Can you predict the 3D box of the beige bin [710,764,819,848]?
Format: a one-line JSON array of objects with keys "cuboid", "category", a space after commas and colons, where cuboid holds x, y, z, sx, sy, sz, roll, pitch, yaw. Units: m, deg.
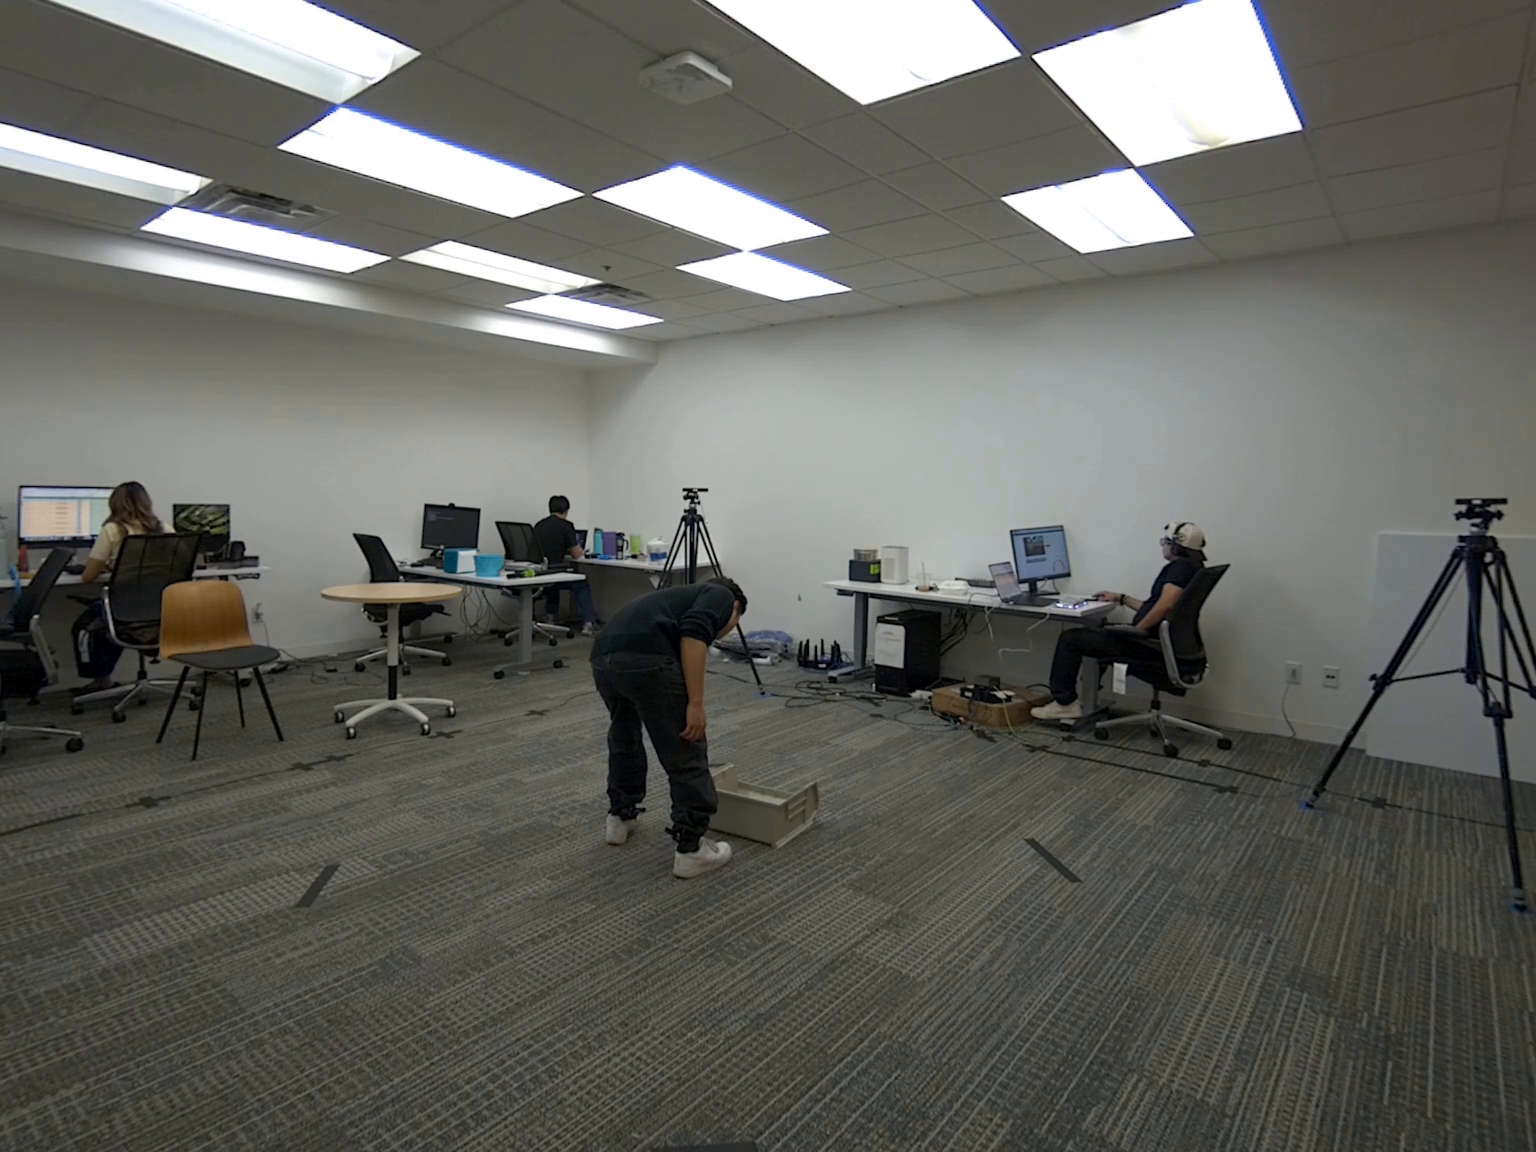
[{"cuboid": [-0.058, 0.943, 3.557, 0.435, 0.188, 0.368, 4, 7, 30], "category": "beige bin"}]
